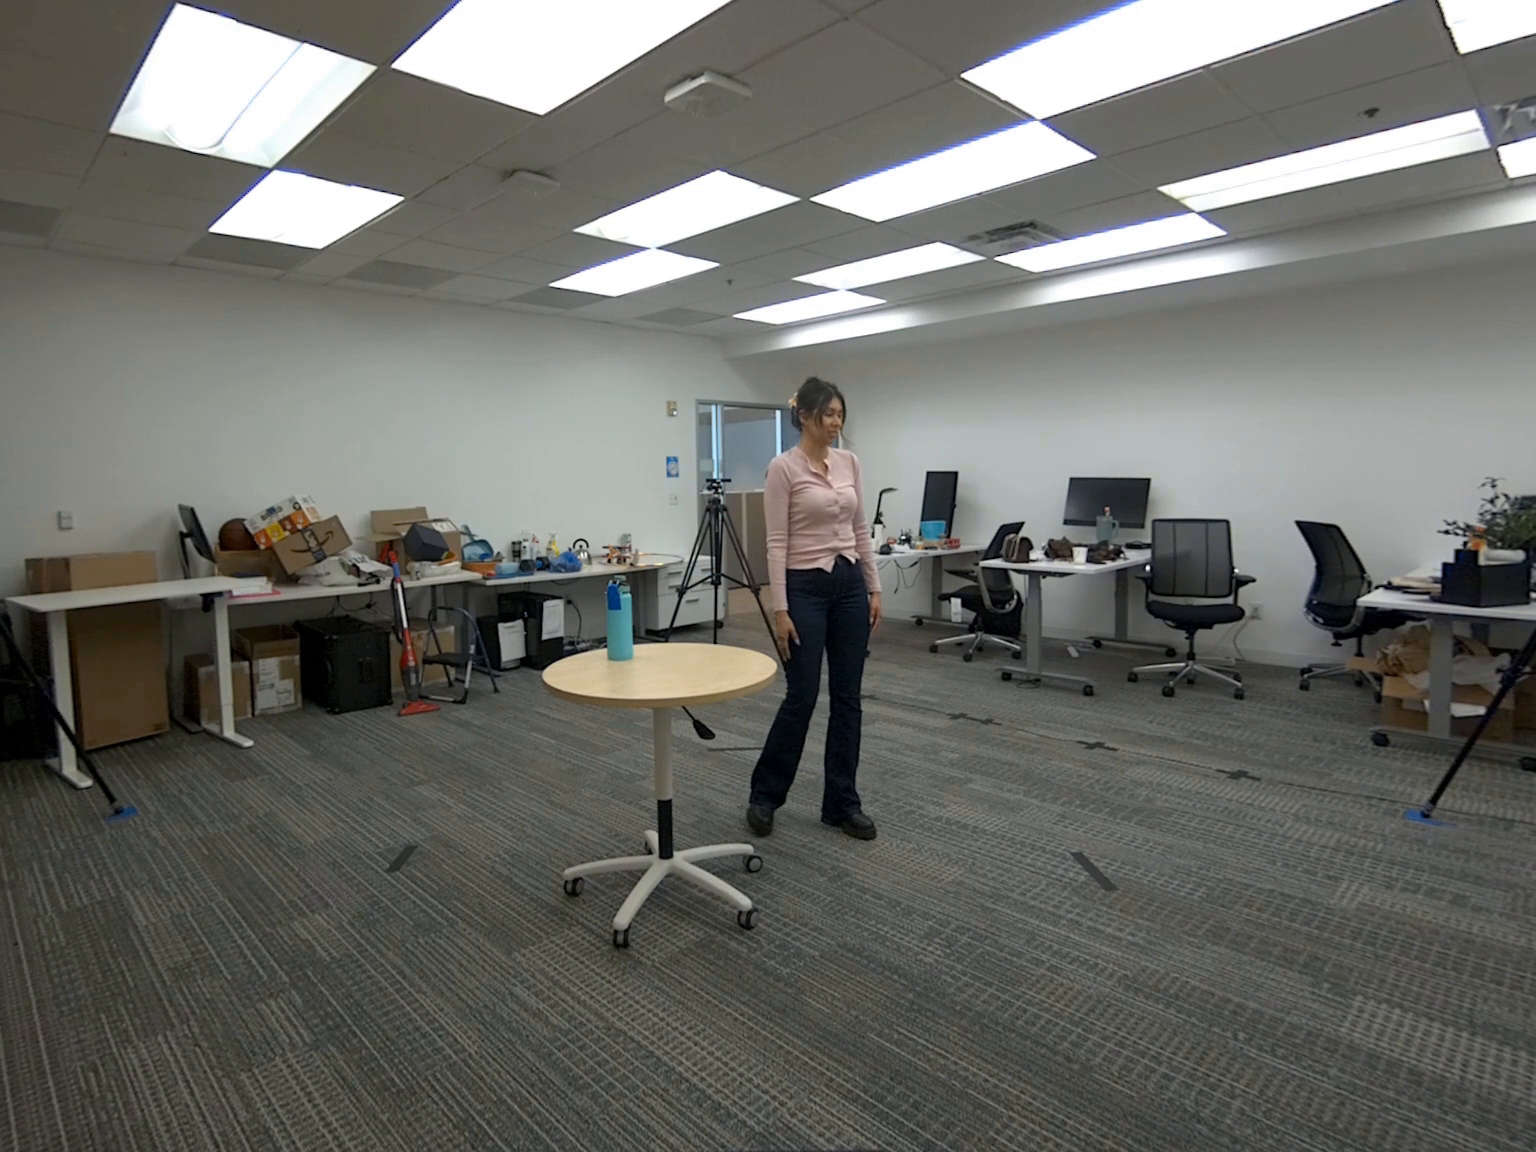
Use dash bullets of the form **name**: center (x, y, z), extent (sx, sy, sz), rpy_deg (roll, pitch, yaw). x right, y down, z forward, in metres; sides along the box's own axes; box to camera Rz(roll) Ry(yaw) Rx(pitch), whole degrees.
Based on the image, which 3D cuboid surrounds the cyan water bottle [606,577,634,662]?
- **cyan water bottle**: center (-0.515, 0.147, 2.944), extent (0.092, 0.282, 0.093), rpy_deg (-1, 5, -2)
